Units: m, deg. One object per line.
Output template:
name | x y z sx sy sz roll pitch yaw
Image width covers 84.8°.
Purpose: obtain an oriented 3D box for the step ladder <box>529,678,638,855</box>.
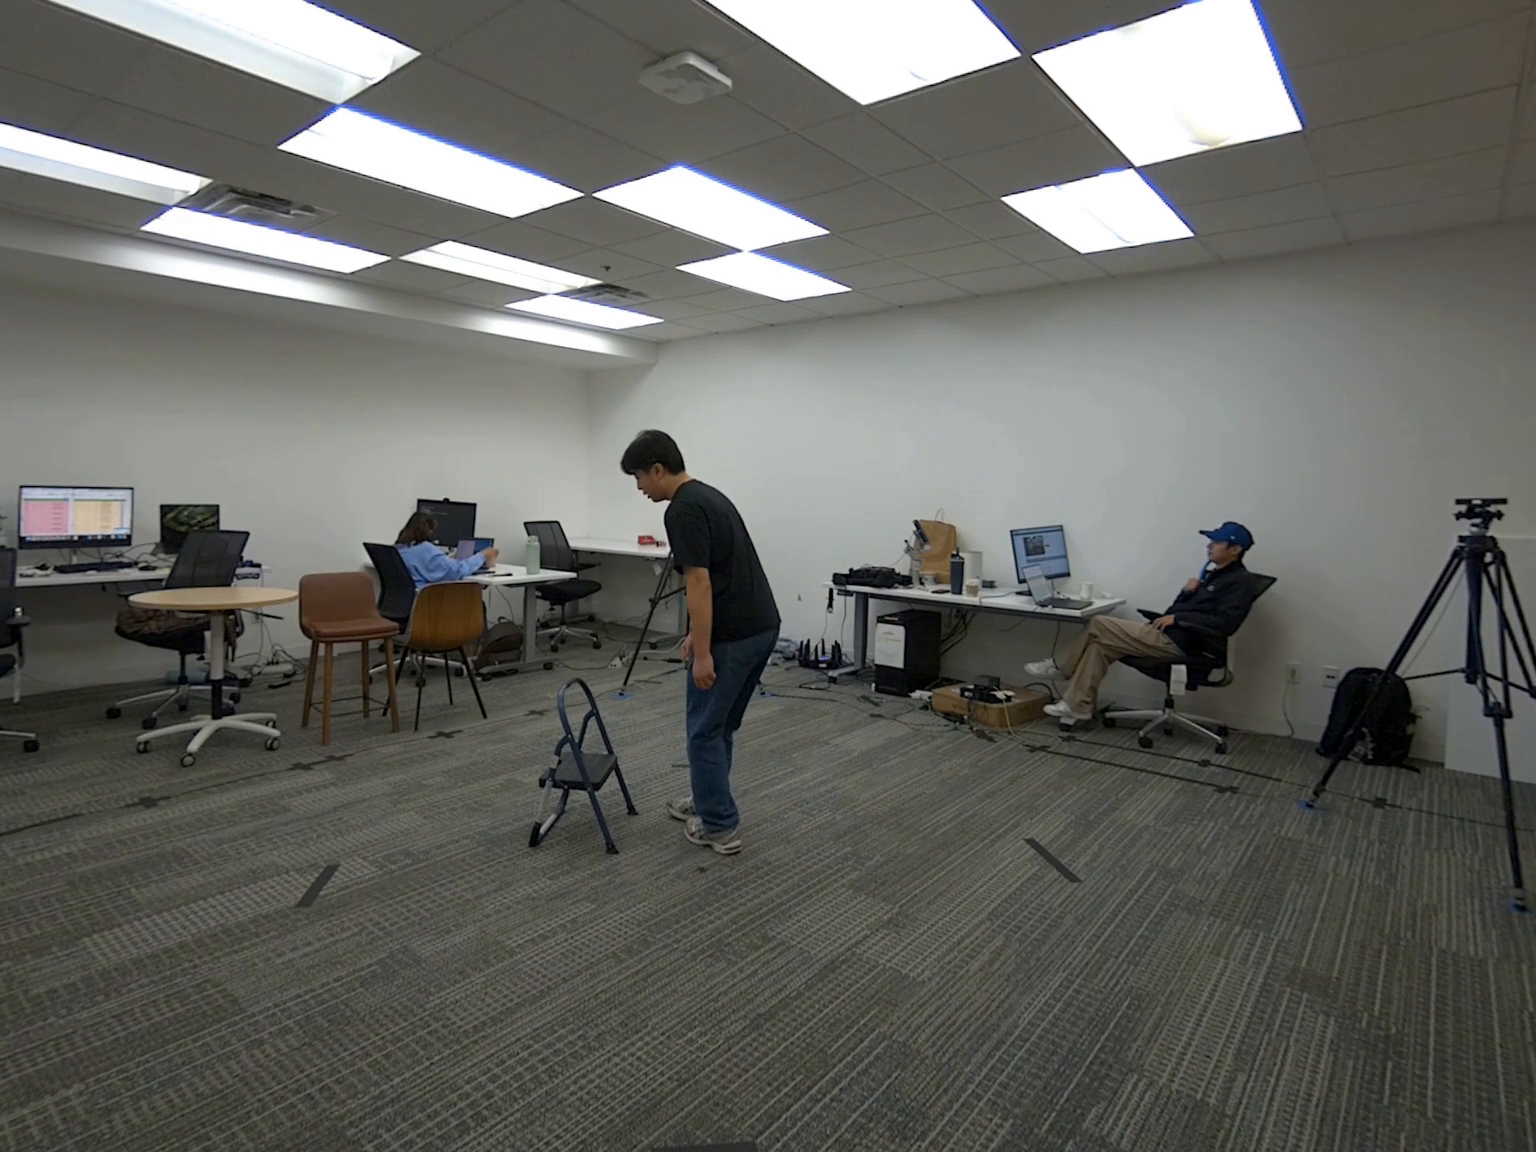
step ladder | -0.748 0.727 3.442 0.351 0.604 0.430 1 3 3
